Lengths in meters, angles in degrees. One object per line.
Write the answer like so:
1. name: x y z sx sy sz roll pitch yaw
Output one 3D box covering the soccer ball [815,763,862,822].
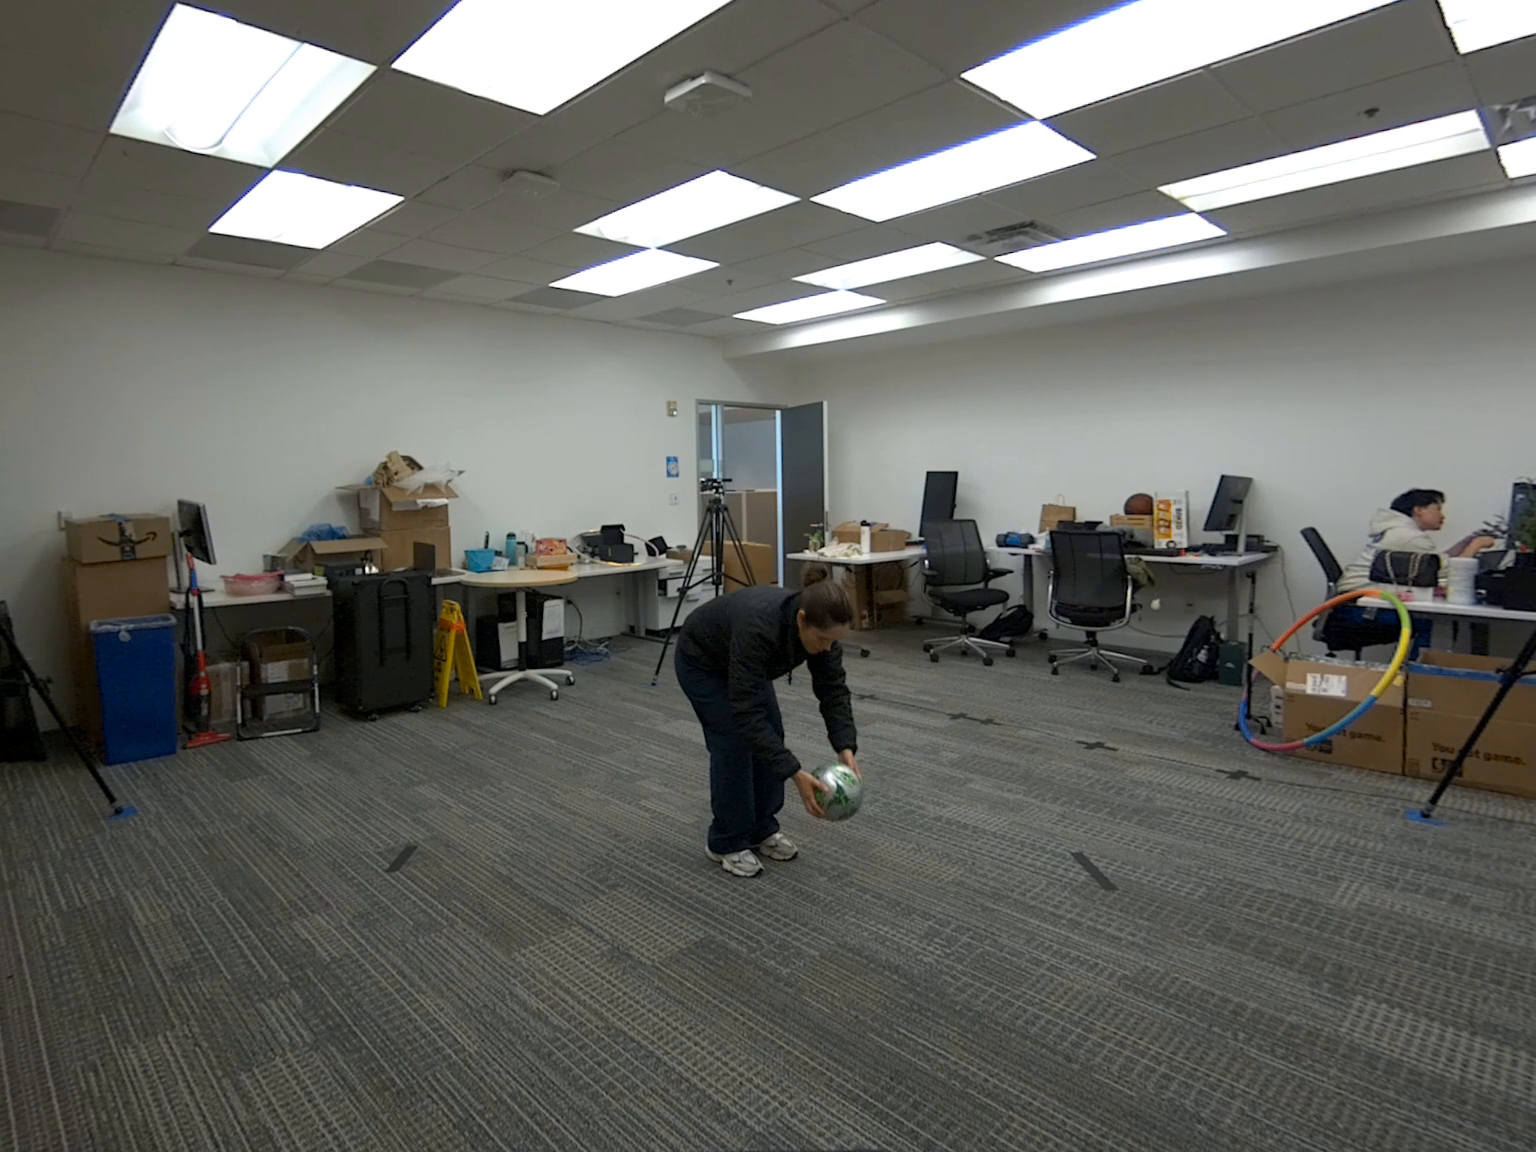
1. soccer ball: 0.212 0.682 2.773 0.187 0.187 0.188 -1 5 -2
